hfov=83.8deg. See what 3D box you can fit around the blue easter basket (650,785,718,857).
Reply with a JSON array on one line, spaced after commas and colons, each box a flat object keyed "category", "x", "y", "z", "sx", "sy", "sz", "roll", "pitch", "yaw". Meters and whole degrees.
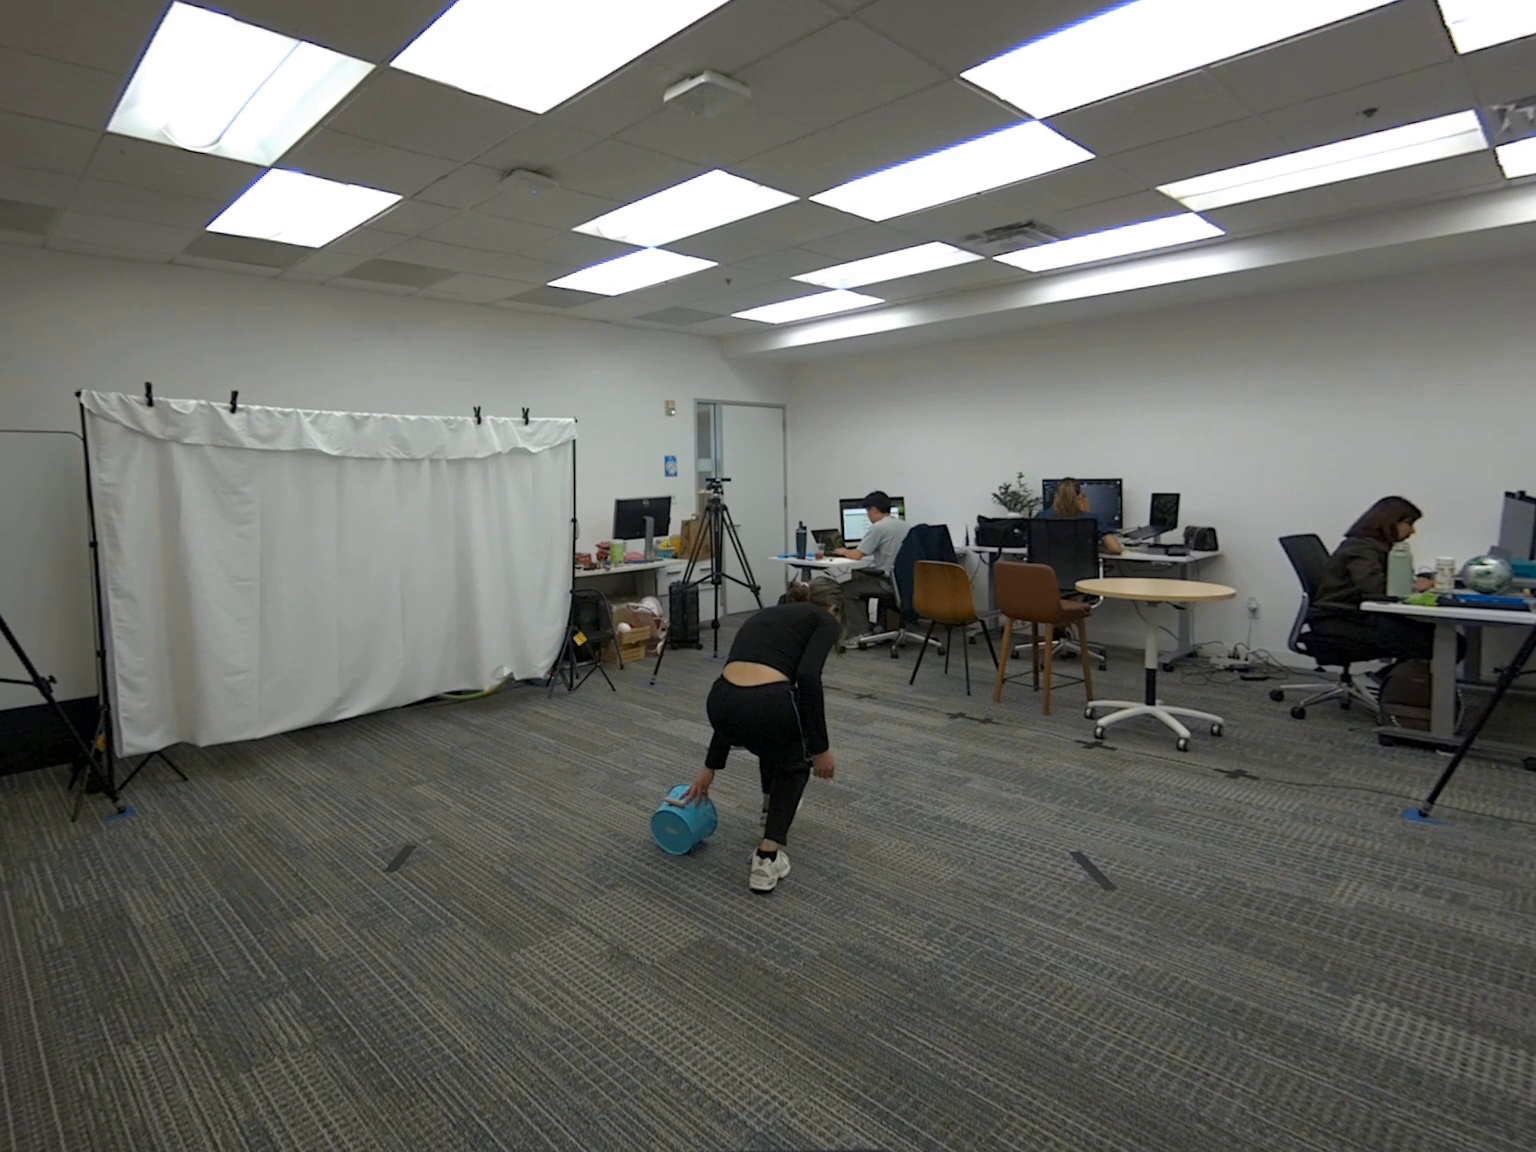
[{"category": "blue easter basket", "x": -0.330, "y": 0.926, "z": 3.239, "sx": 0.249, "sy": 0.240, "sz": 0.154, "roll": 2, "pitch": 15, "yaw": 26}]
